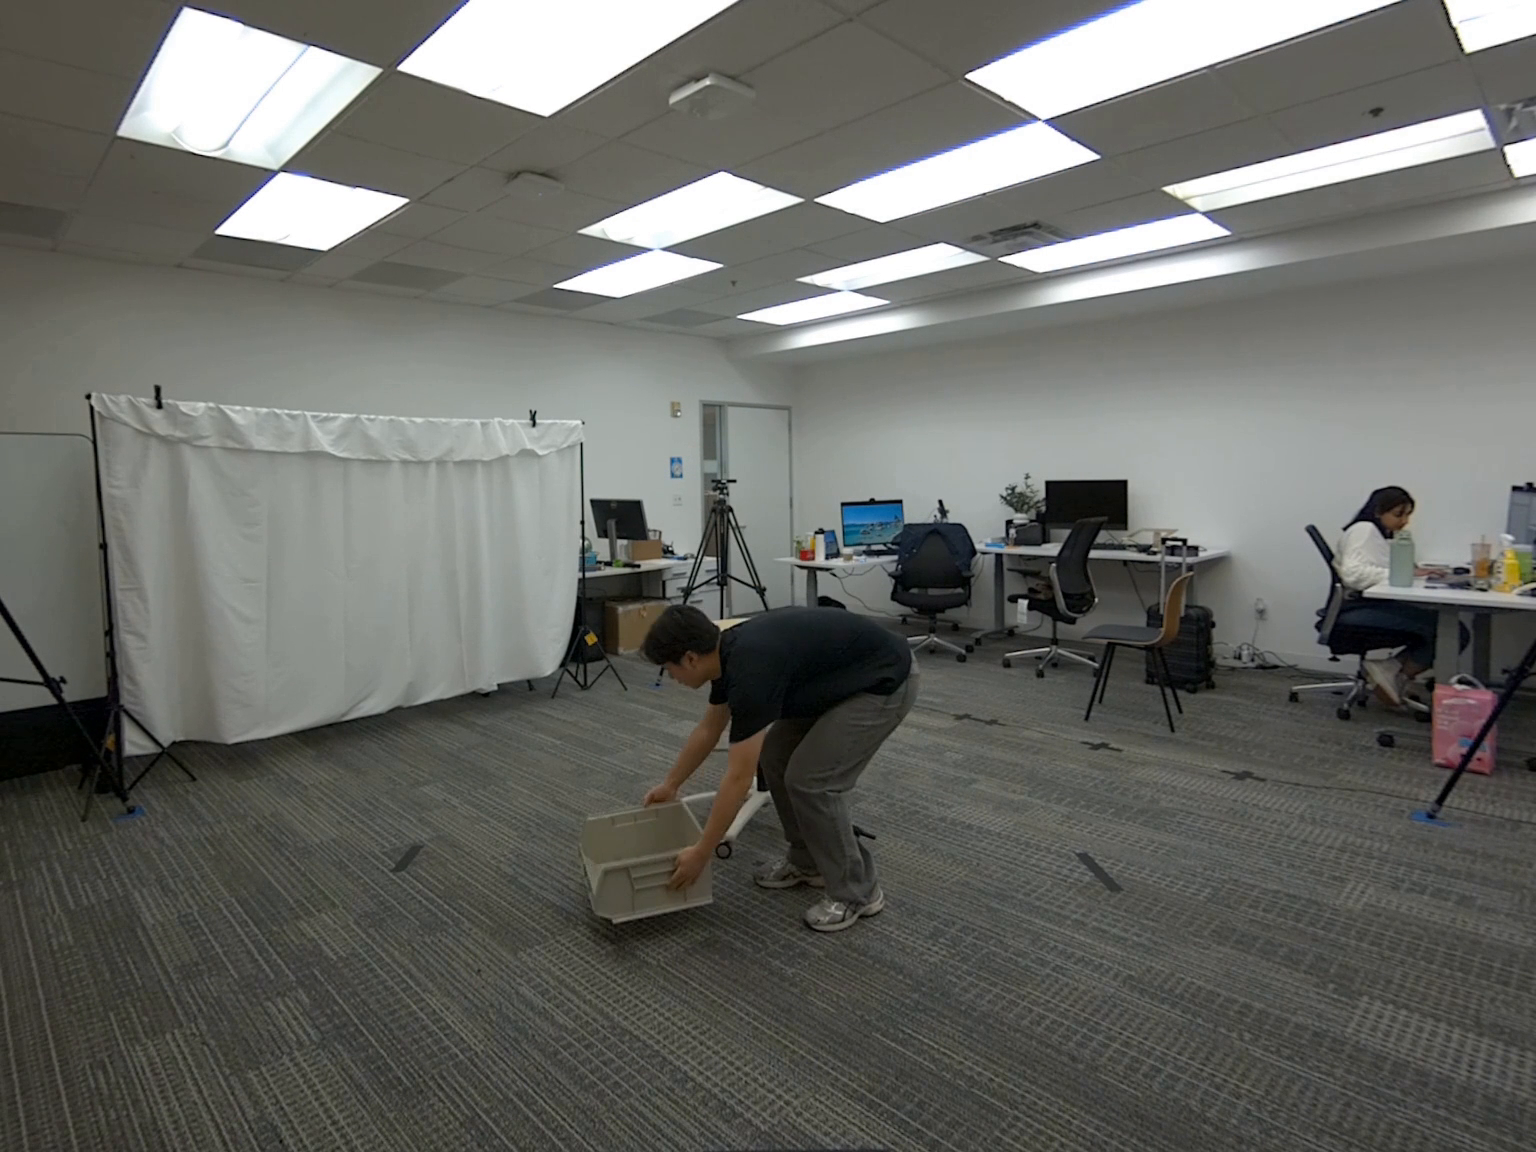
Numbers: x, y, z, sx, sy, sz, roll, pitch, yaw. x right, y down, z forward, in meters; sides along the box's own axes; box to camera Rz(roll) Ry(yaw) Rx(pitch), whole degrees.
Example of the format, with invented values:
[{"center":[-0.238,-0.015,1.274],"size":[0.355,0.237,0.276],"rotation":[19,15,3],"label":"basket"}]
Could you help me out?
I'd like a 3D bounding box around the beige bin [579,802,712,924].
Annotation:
[{"center":[-0.398,0.911,2.766],"size":[0.372,0.188,0.431],"rotation":[-6,6,-18],"label":"beige bin"}]
